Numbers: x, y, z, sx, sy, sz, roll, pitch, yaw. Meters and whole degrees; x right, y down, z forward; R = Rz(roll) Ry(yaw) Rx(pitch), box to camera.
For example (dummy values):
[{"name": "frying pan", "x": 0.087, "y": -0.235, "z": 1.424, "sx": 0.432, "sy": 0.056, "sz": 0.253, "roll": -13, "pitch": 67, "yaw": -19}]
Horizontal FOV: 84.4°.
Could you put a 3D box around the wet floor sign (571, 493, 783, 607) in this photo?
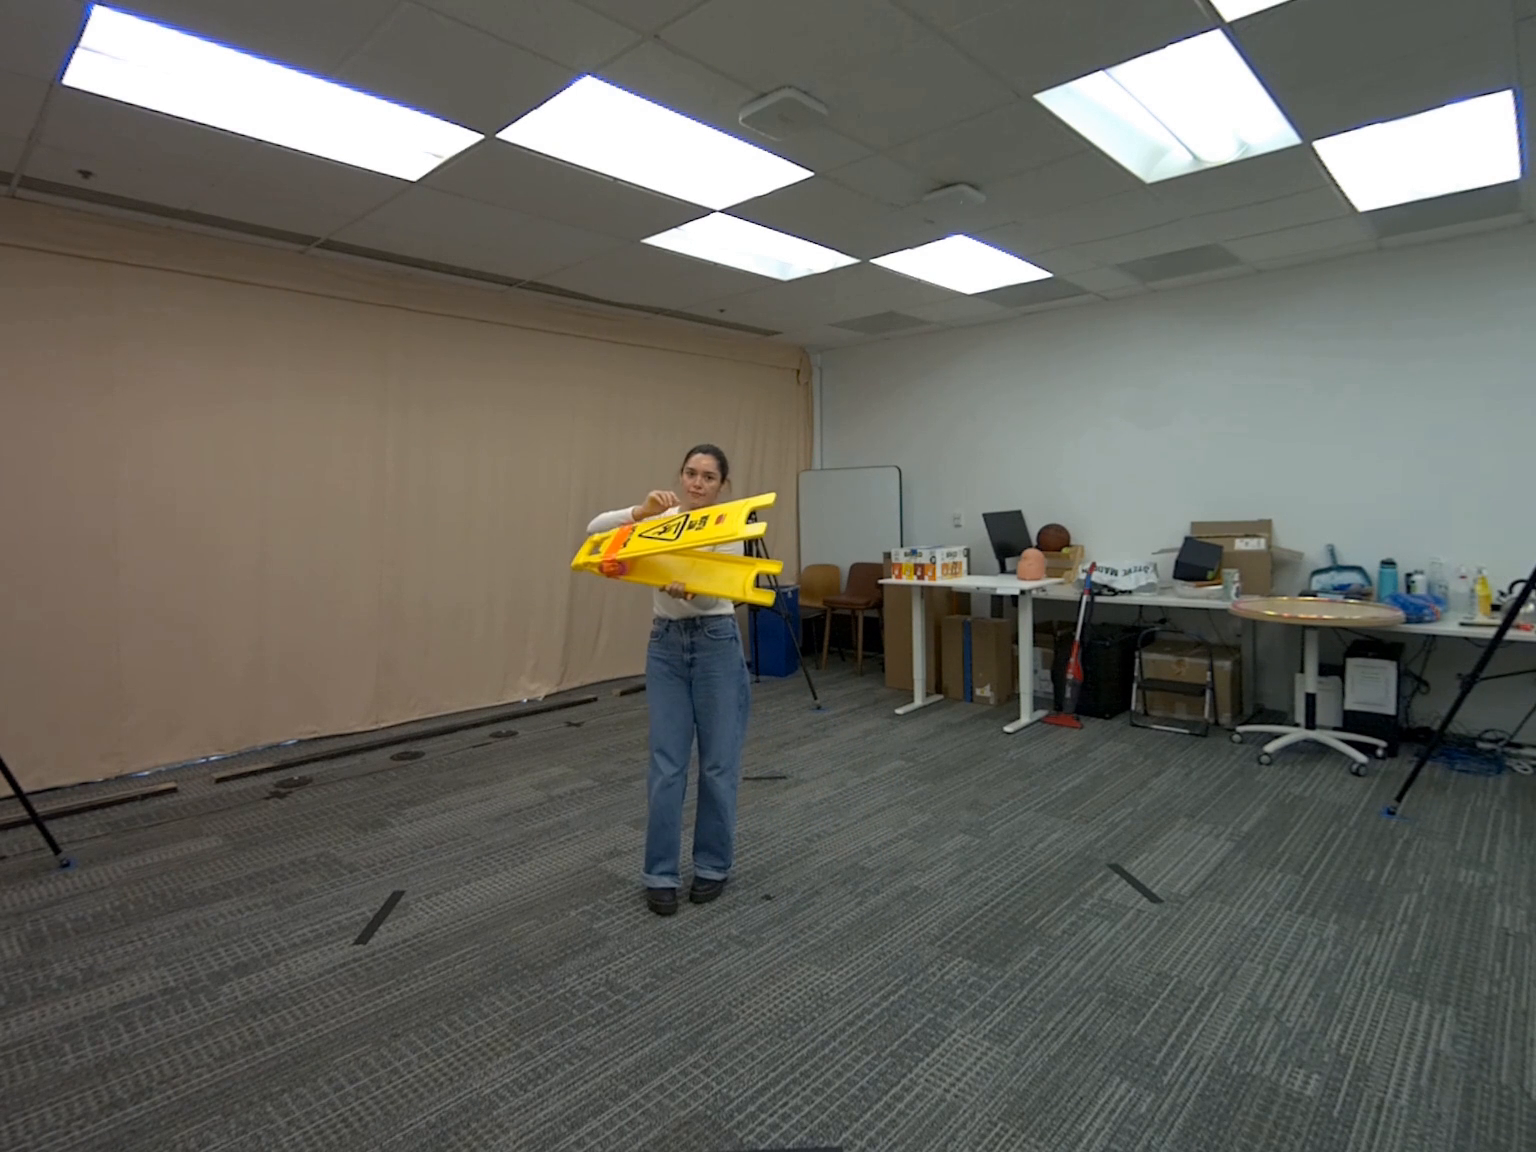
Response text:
[{"name": "wet floor sign", "x": -0.305, "y": -0.077, "z": 2.693, "sx": 0.655, "sy": 0.284, "sz": 0.283, "roll": 1, "pitch": 30, "yaw": 12}]
